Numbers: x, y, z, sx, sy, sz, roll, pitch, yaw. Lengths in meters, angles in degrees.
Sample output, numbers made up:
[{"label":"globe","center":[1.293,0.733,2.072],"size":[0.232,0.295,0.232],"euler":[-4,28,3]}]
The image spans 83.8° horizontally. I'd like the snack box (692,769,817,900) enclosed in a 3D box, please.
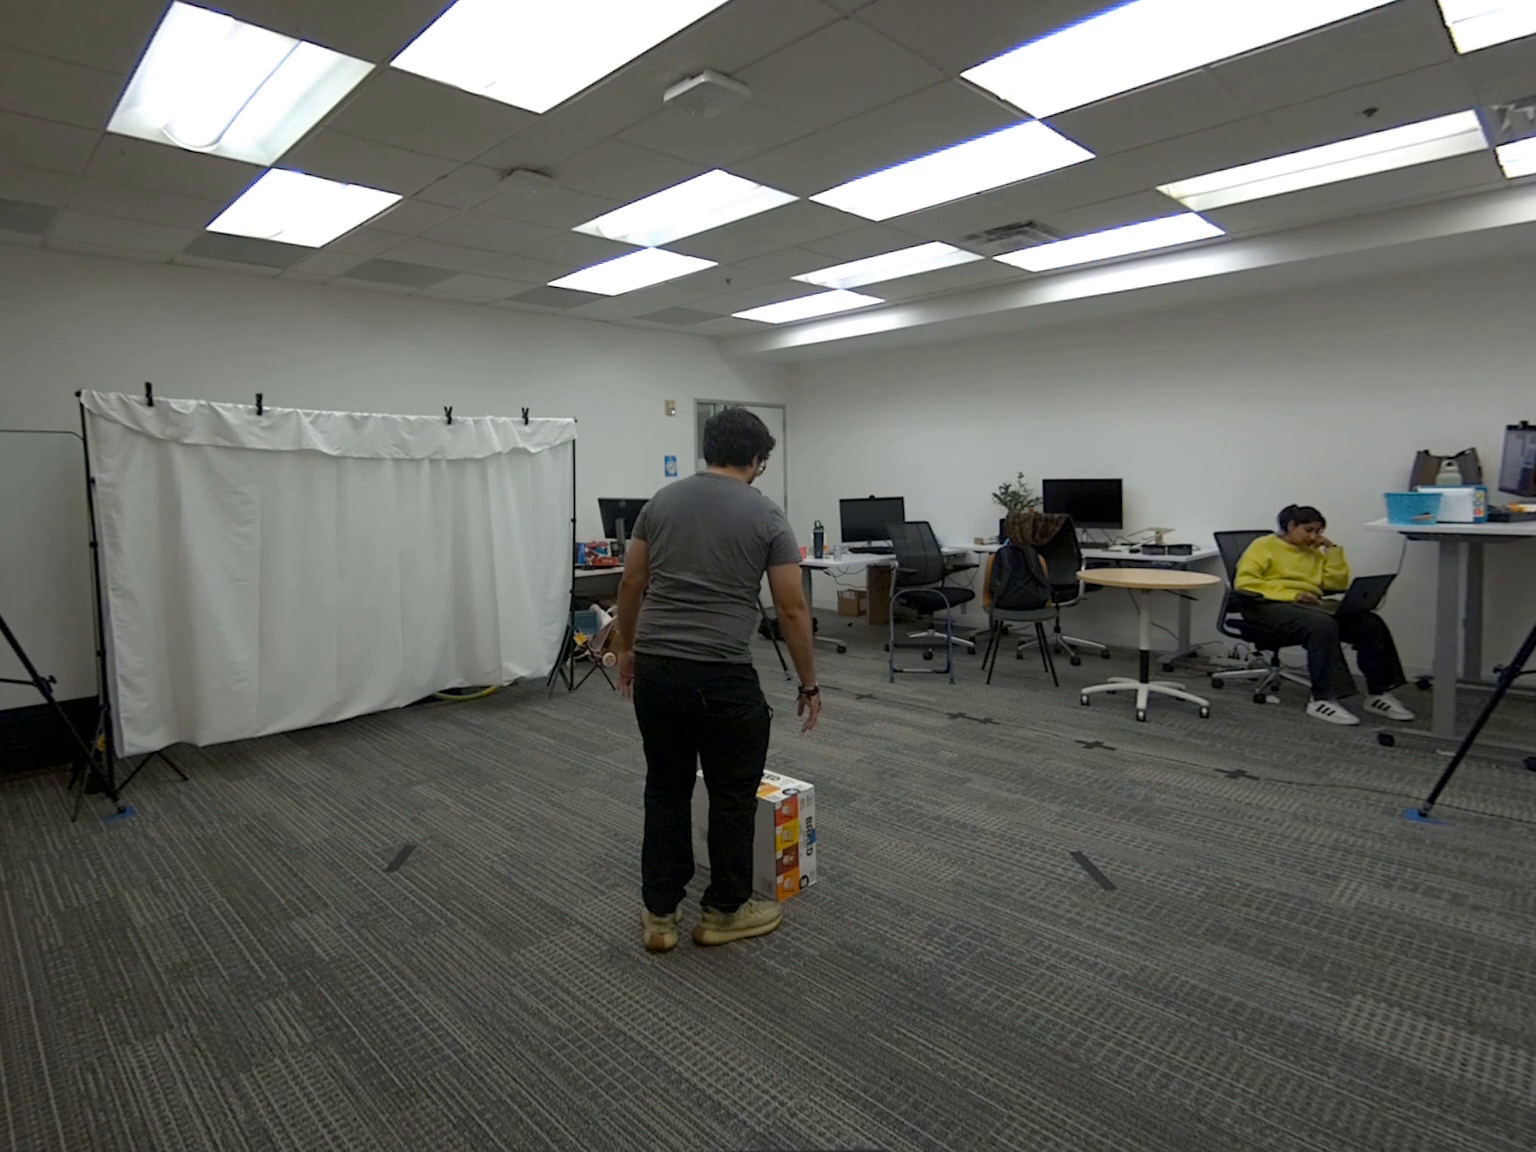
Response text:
[{"label":"snack box","center":[-0.048,0.882,3.013],"size":[0.200,0.339,0.418],"euler":[-5,7,-45]}]
